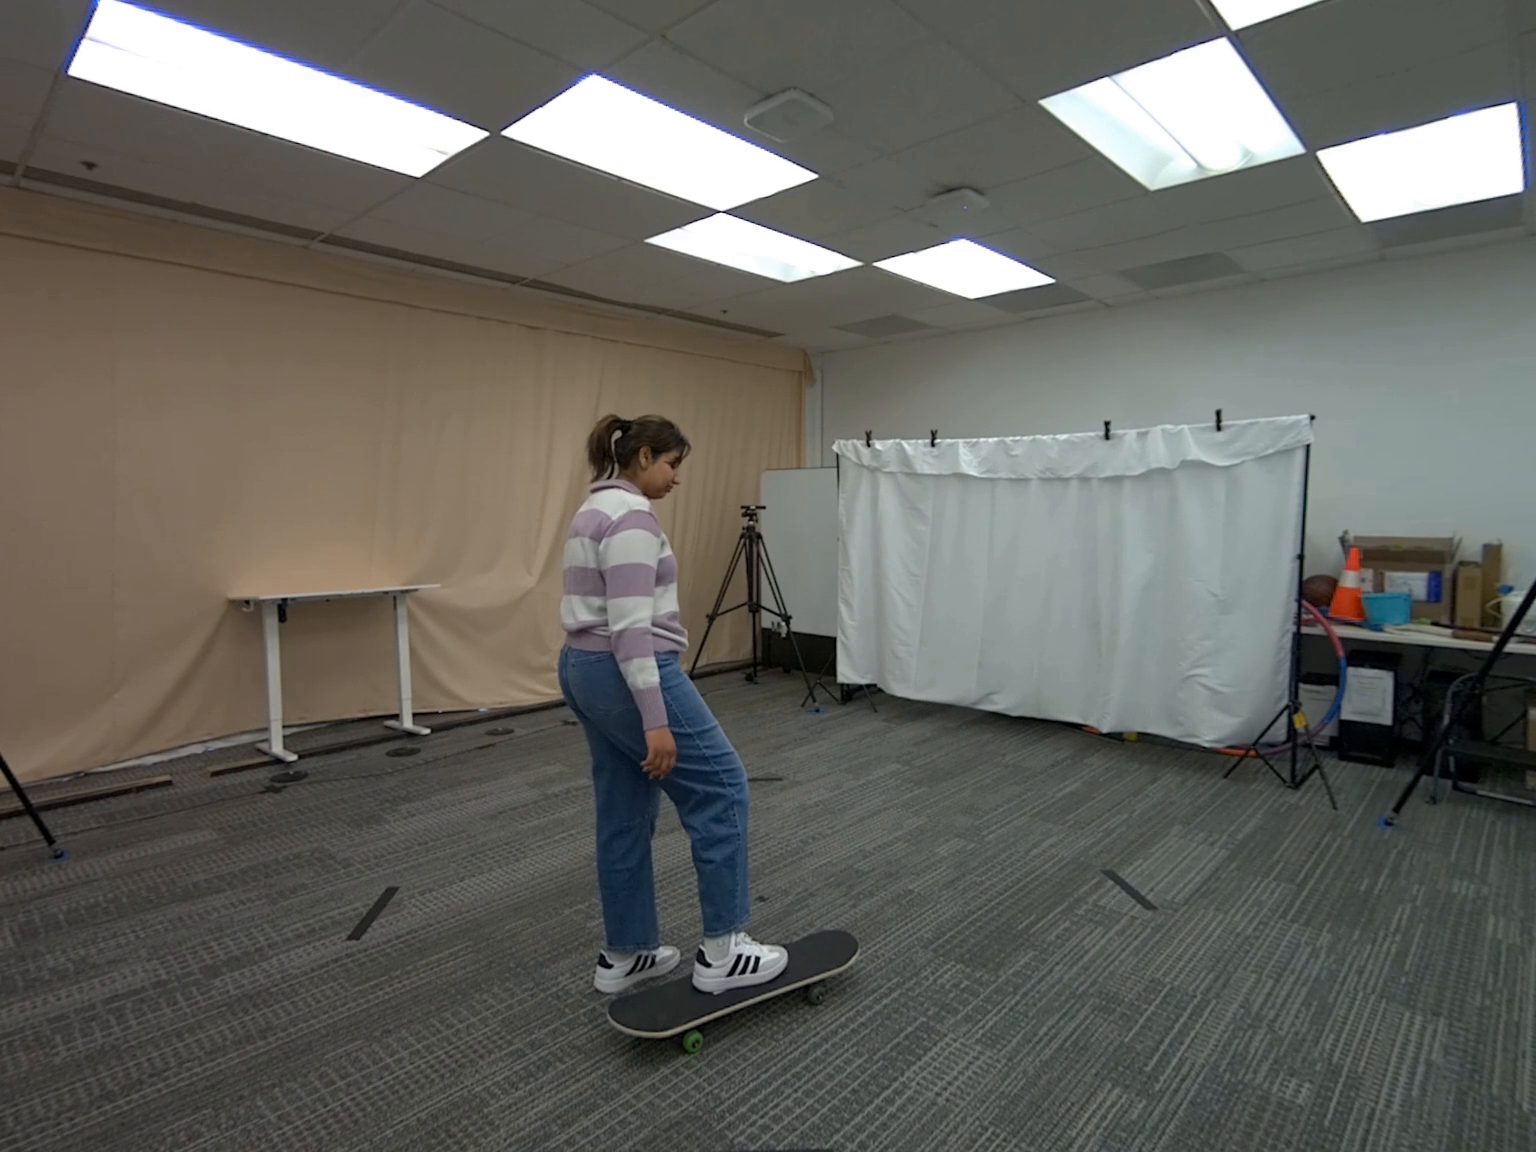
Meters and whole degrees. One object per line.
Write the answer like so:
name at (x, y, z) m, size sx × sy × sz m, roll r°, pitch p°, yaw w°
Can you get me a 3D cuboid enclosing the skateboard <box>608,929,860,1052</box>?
skateboard at (-0.073, 1.143, 2.315) m, size 0.764 × 0.110 × 0.199 m, roll -3°, pitch 6°, yaw -30°
